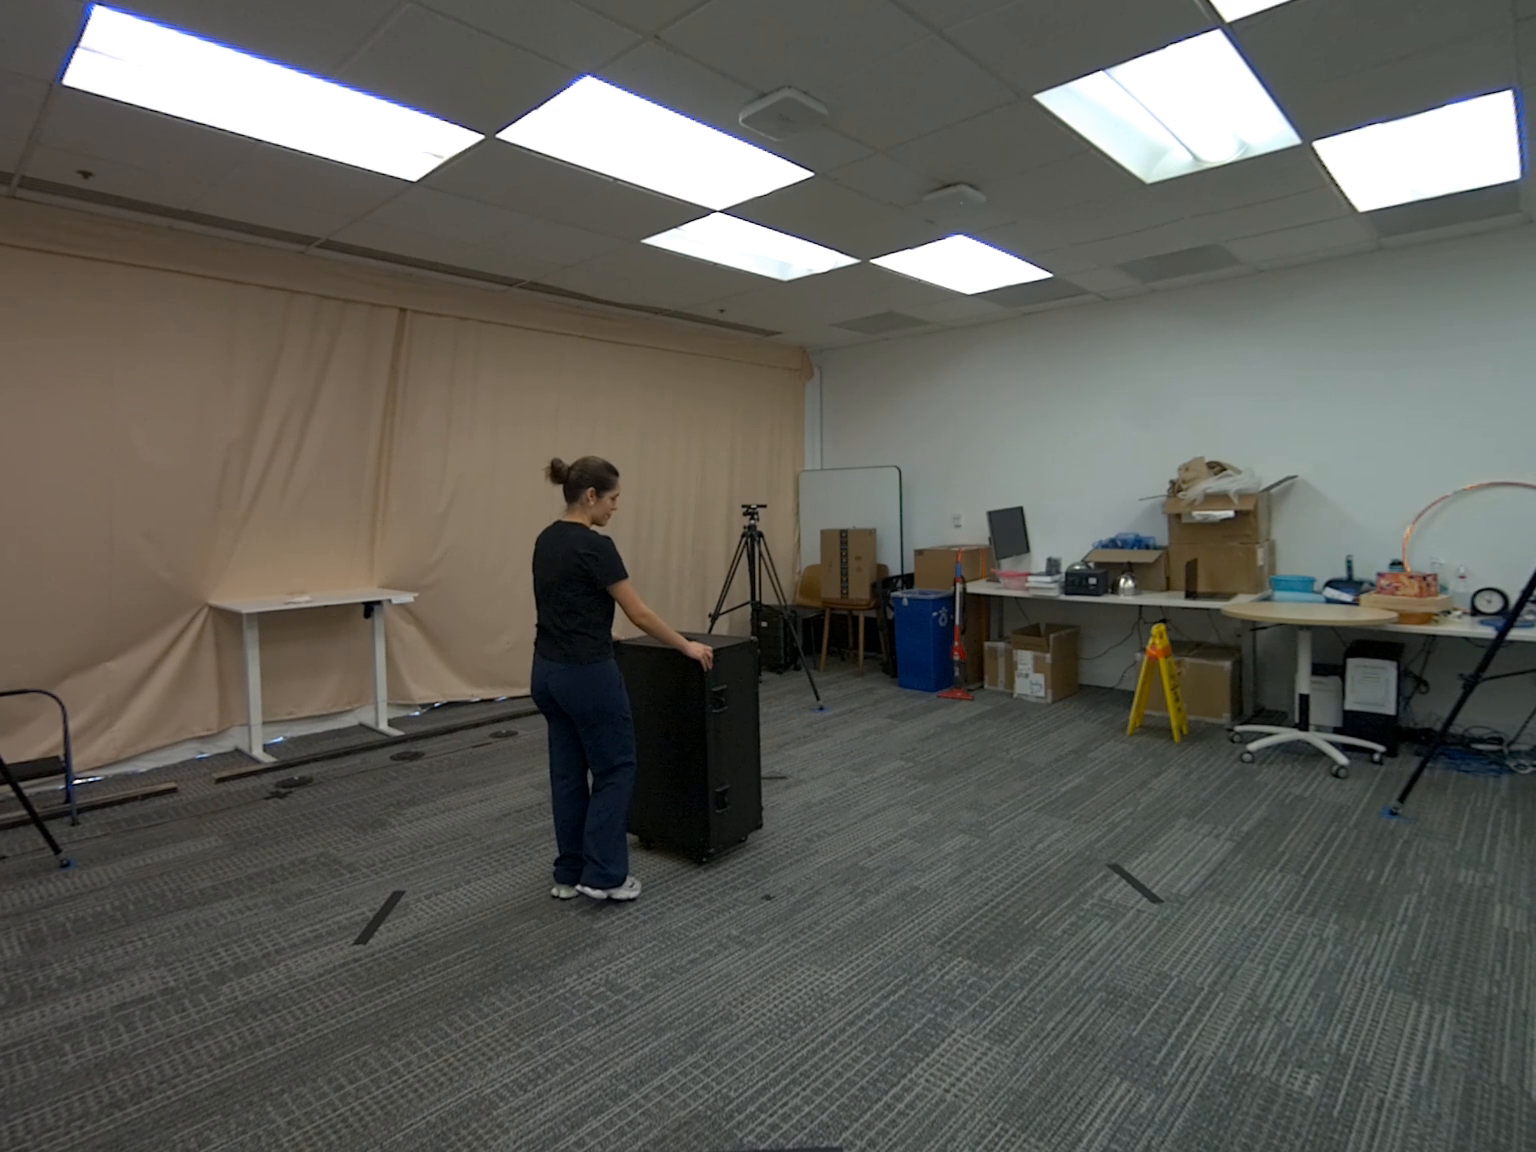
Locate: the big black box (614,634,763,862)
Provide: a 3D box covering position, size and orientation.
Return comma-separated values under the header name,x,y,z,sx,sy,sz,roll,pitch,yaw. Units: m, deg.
name,x,y,z,sx,sy,sz,roll,pitch,yaw
big black box,-0.311,0.680,3.447,0.537,0.860,0.385,1,4,36
